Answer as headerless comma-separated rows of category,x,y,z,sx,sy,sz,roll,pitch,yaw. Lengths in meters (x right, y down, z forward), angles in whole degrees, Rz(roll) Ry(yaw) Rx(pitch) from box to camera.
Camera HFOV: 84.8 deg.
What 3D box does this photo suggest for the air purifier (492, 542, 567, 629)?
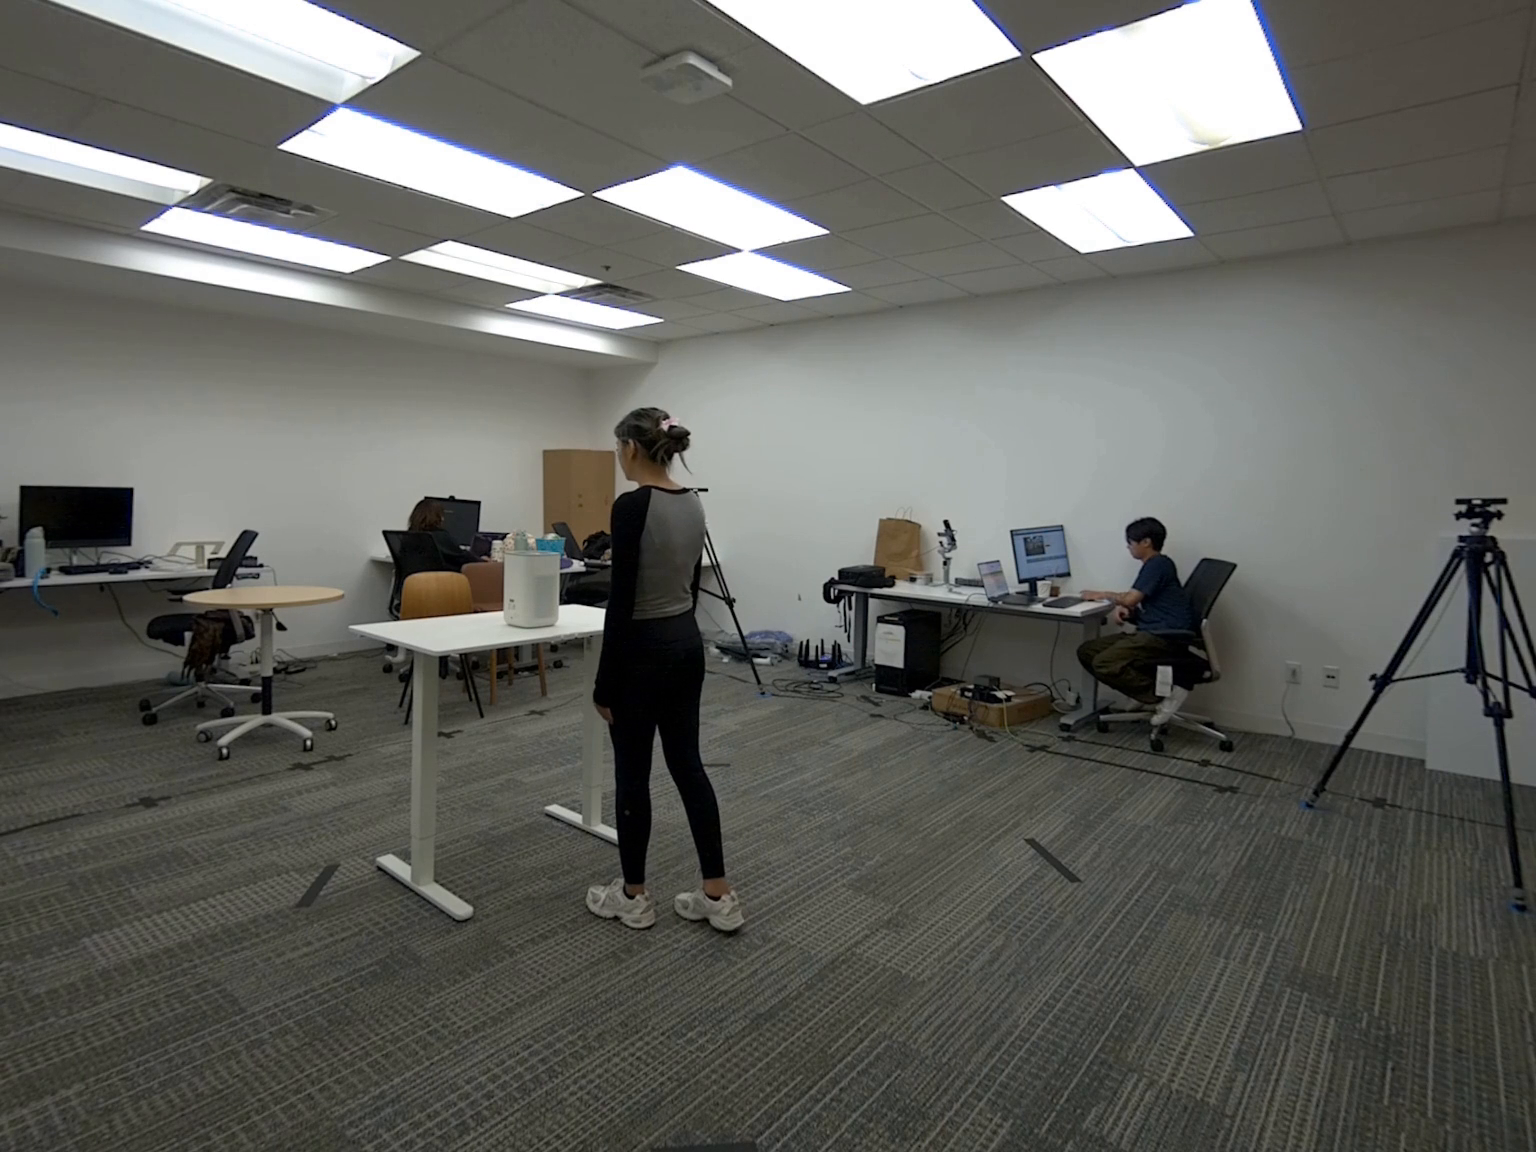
air purifier,-0.881,0.045,3.108,0.177,0.265,0.166,4,4,39
